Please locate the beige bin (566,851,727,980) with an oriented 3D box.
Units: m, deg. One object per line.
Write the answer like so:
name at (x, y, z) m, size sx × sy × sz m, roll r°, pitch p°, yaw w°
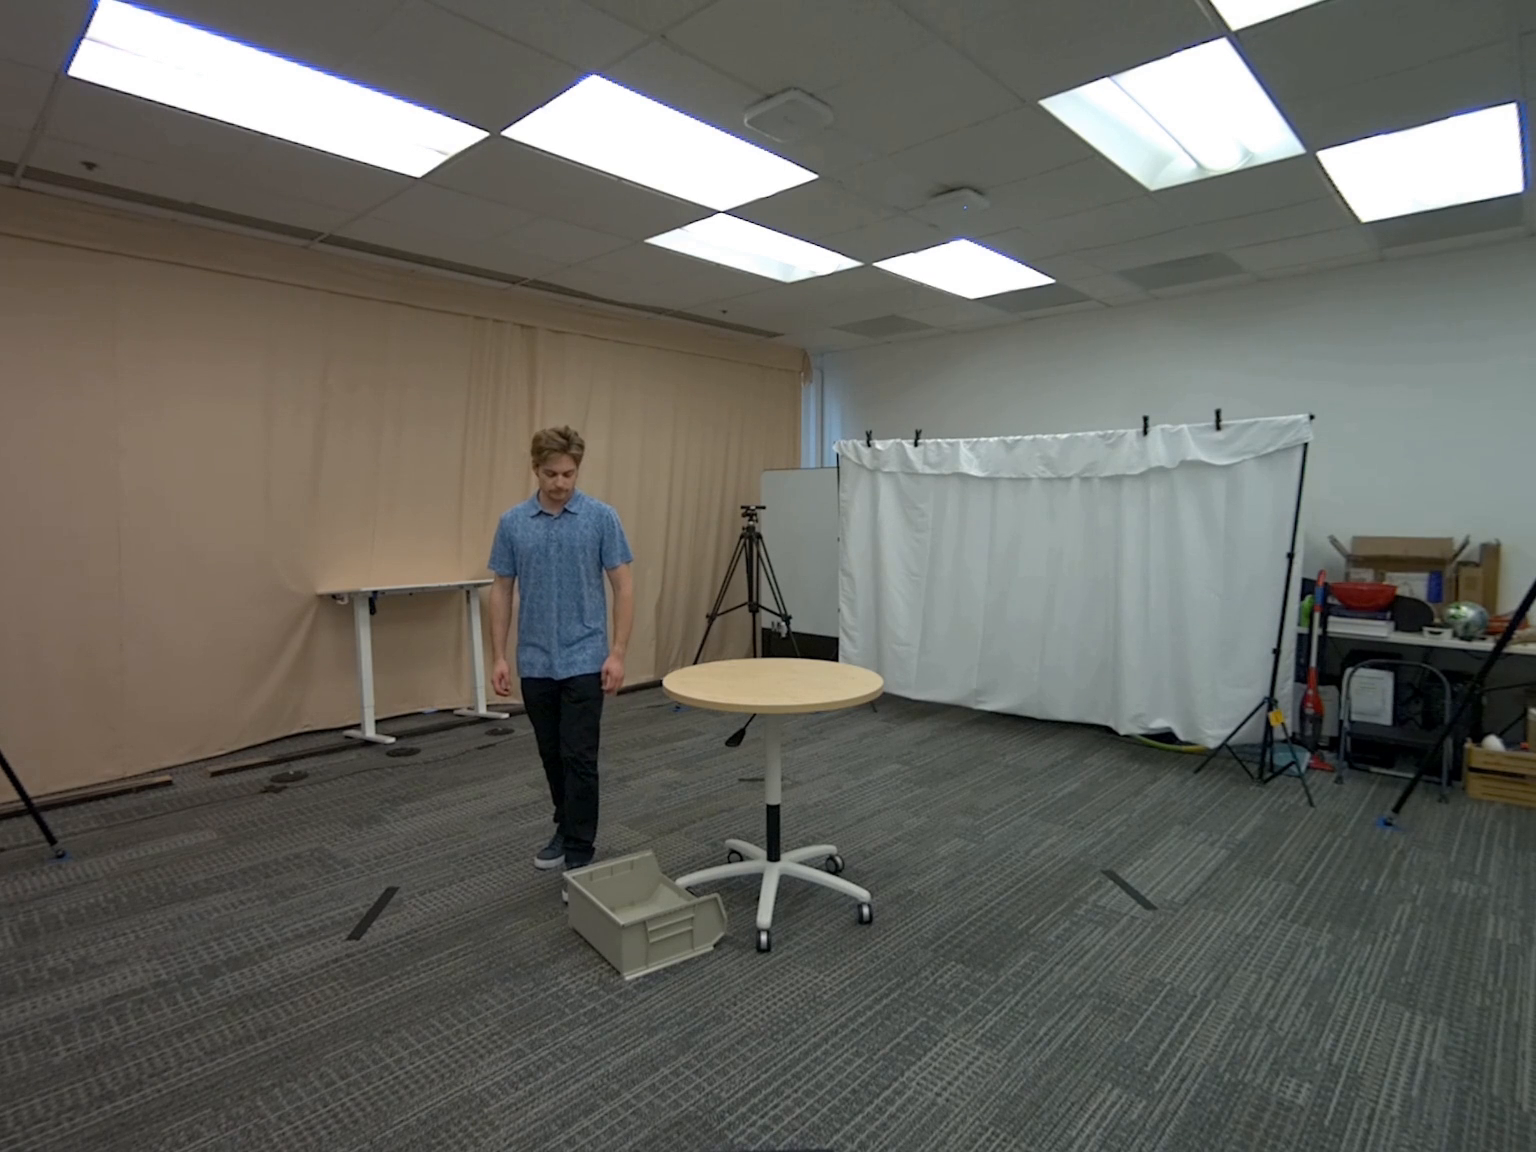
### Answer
beige bin at (-0.404, 1.084, 2.724) m, size 0.366 × 0.188 × 0.436 m, roll -5°, pitch 7°, yaw -36°
